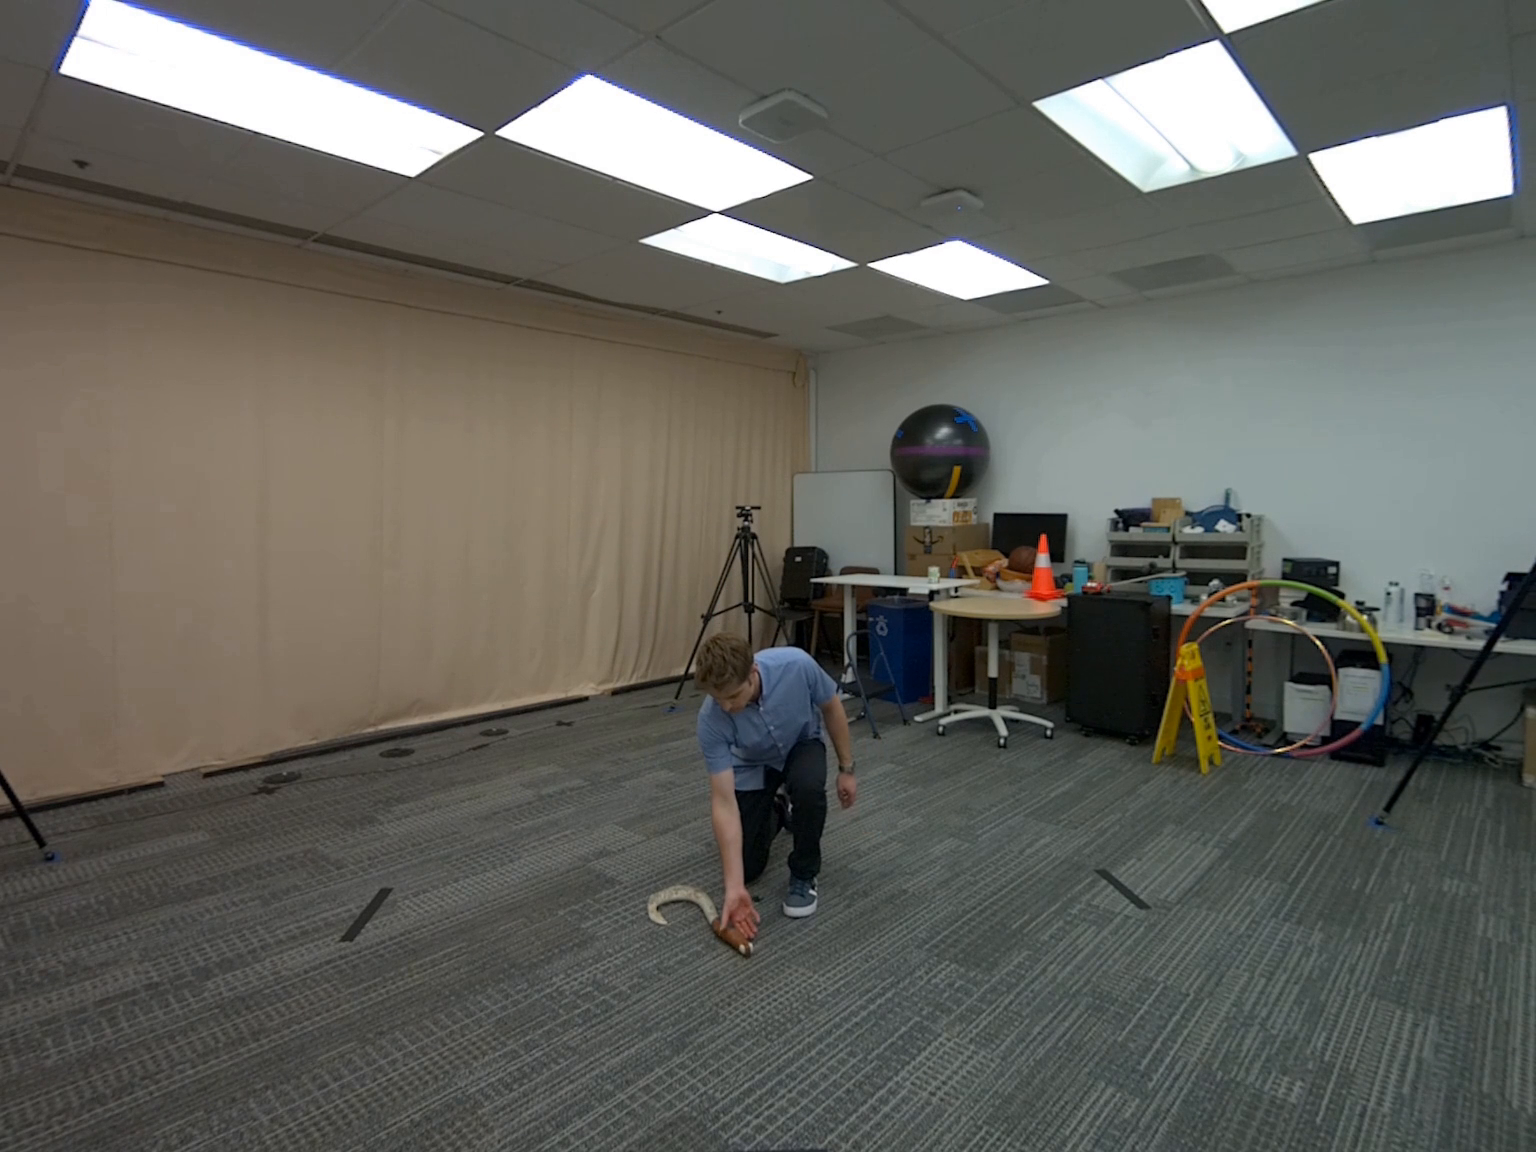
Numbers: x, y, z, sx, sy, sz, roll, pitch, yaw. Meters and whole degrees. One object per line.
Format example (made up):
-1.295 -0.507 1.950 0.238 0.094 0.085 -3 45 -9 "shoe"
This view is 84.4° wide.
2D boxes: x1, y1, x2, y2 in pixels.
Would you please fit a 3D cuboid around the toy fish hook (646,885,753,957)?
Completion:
-0.236 1.153 2.776 0.219 0.048 0.522 -13 10 -31 "toy fish hook"
